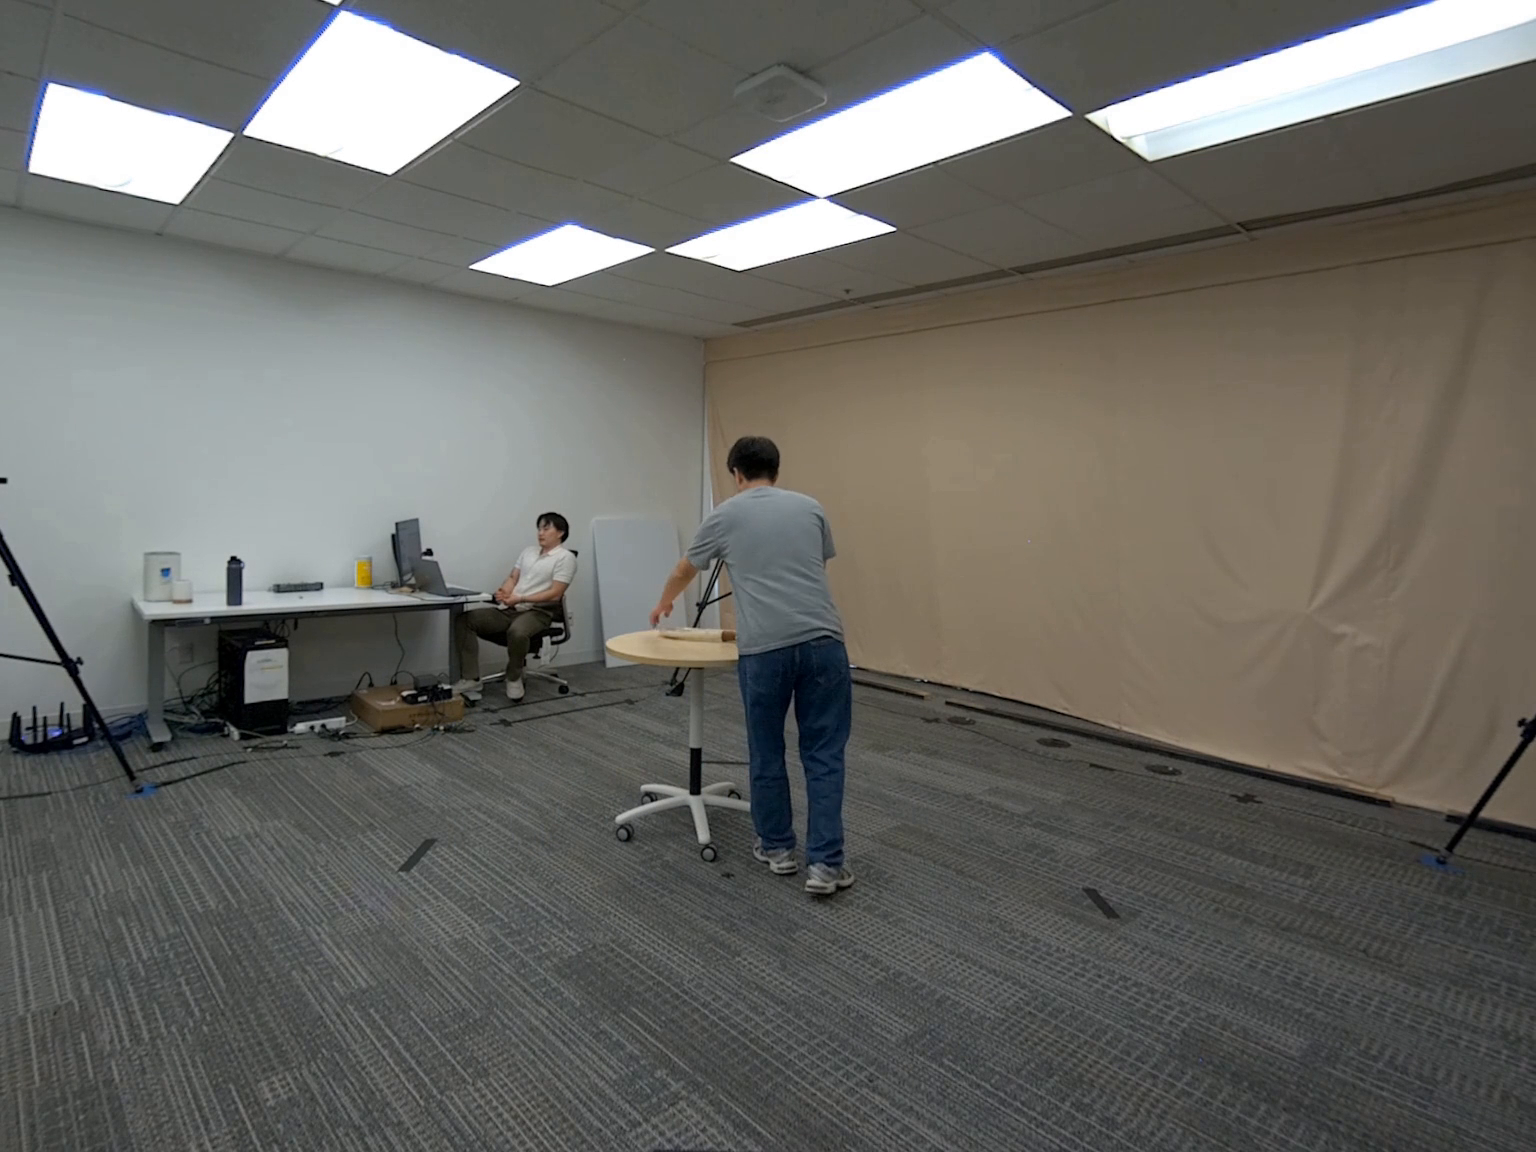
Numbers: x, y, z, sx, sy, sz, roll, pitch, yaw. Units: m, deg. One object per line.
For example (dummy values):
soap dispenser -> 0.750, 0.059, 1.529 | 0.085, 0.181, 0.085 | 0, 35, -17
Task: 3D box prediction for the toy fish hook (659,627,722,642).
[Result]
toy fish hook -> -0.237, 0.254, 3.650 | 0.515, 0.048, 0.221 | 3, 8, 22
